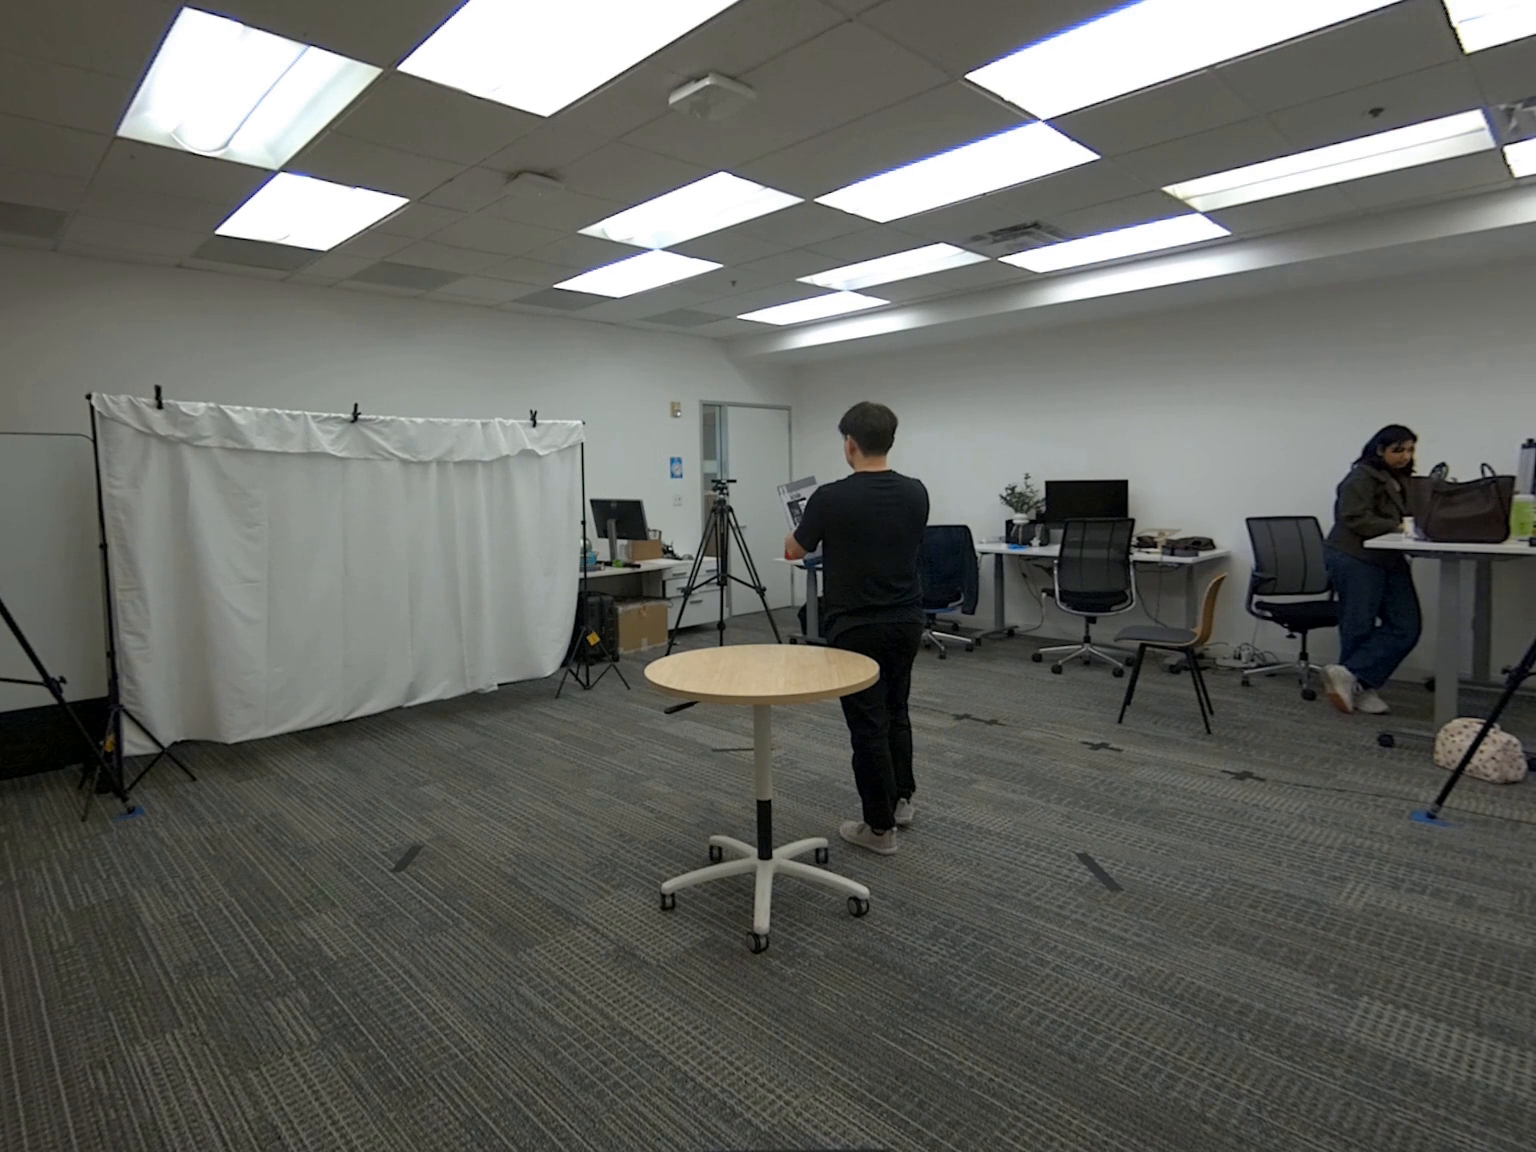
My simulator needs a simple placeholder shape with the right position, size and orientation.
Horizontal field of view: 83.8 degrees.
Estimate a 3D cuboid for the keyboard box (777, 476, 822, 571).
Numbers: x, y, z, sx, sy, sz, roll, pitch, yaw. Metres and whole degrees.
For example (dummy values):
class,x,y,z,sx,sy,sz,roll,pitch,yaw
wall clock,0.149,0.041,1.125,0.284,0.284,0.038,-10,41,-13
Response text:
class,x,y,z,sx,sy,sz,roll,pitch,yaw
keyboard box,0.181,-0.236,3.665,0.176,0.452,0.057,-18,-38,1
